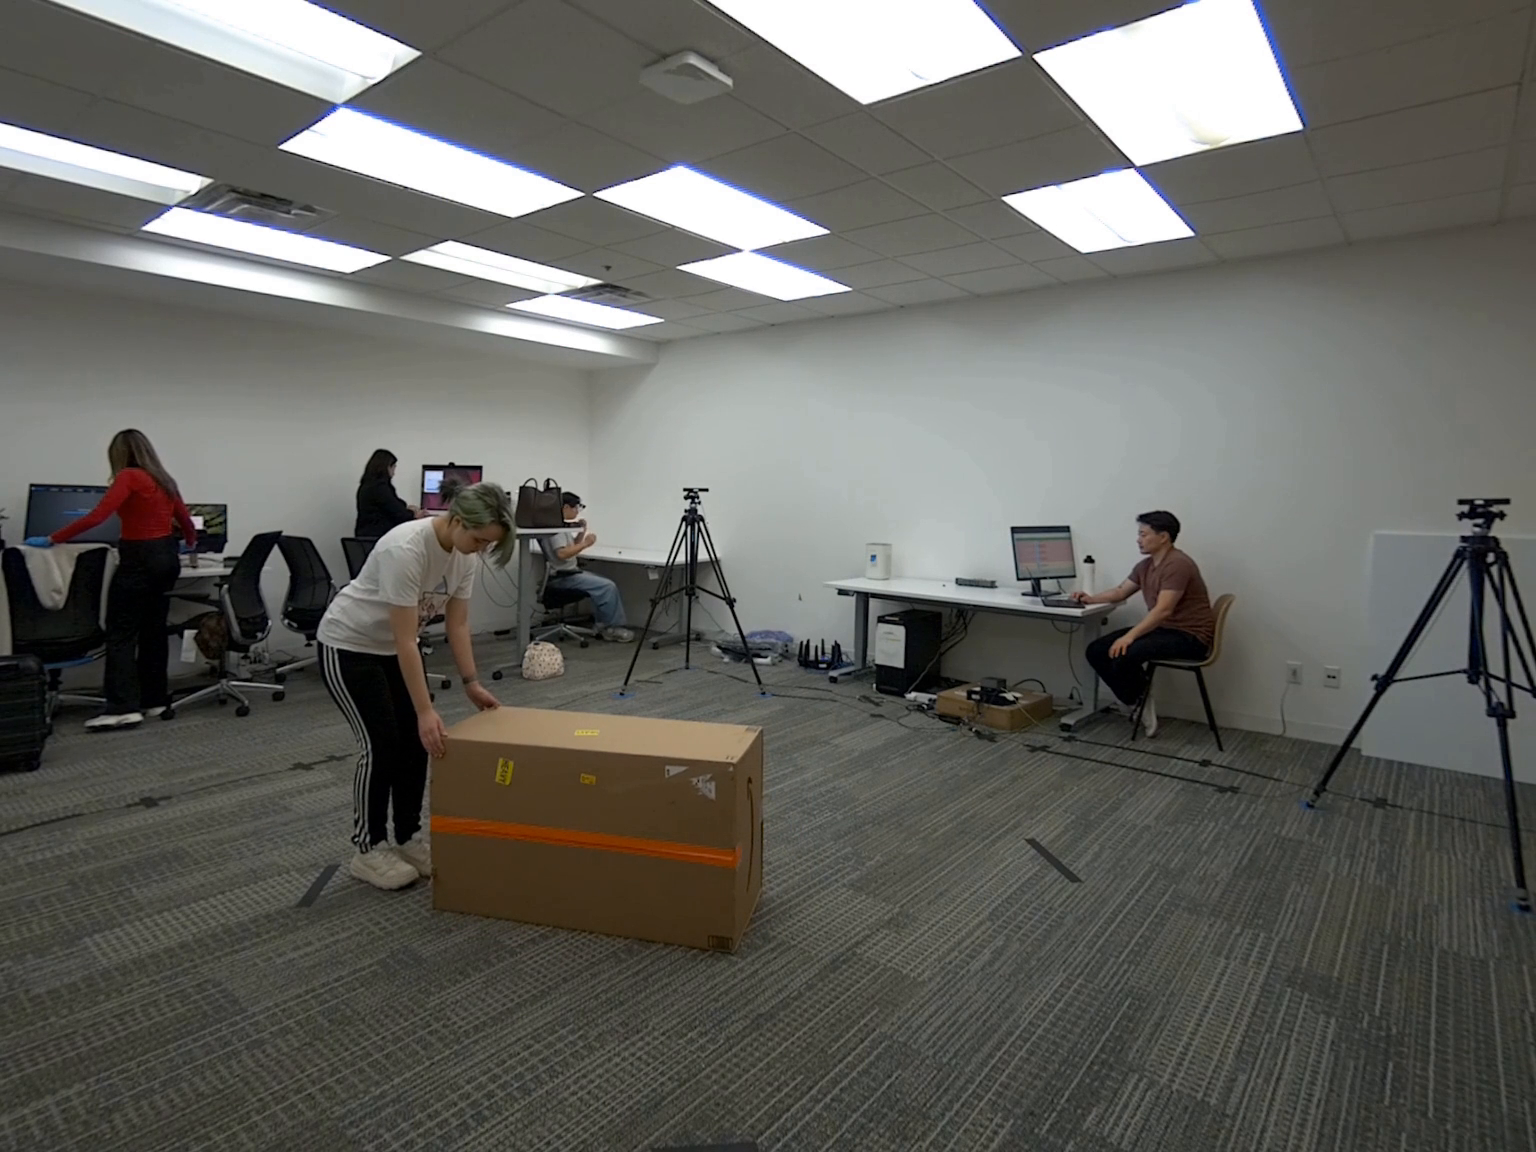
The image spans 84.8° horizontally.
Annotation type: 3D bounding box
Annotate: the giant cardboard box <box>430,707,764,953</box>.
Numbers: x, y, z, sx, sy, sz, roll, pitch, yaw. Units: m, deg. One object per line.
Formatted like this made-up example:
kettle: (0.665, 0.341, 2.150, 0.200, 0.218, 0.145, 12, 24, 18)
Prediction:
giant cardboard box: (-0.569, 0.803, 2.843, 1.042, 0.582, 0.442, 1, 4, 13)
